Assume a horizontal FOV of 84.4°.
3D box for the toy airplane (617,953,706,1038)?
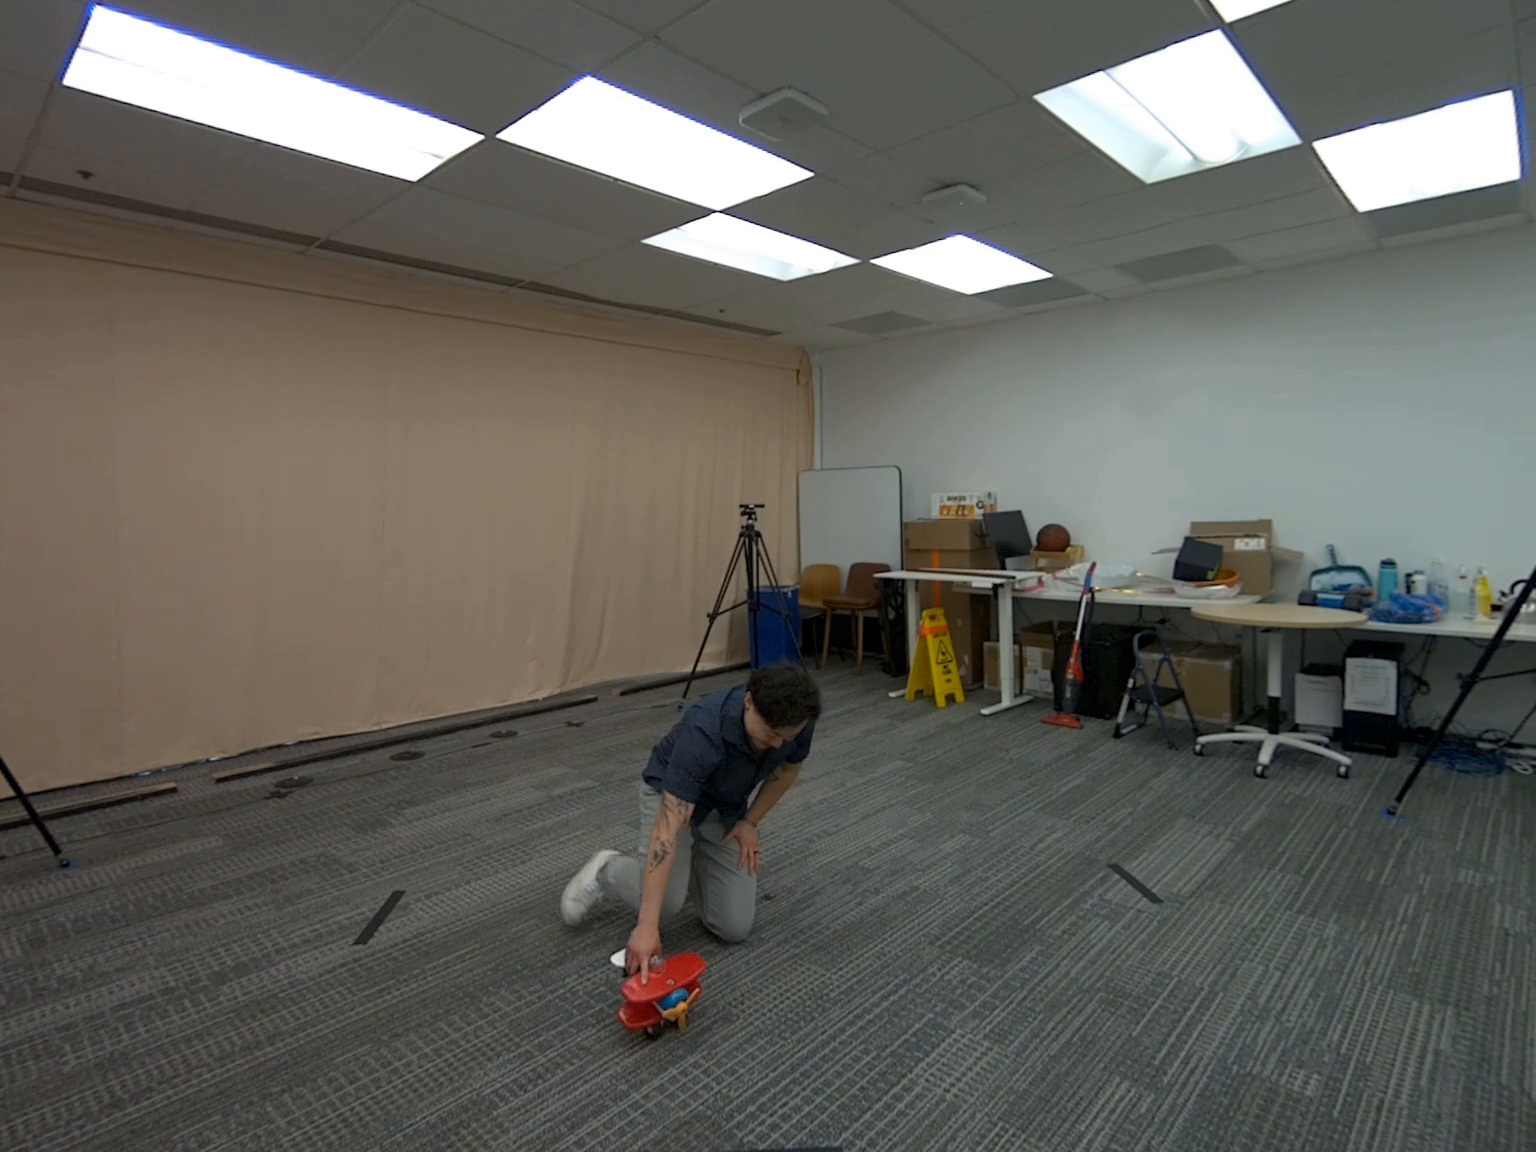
[{"bbox_3d":[-0.316,1.098,2.254,0.263,0.156,0.248,26,26,11],"label":"toy airplane"}]
